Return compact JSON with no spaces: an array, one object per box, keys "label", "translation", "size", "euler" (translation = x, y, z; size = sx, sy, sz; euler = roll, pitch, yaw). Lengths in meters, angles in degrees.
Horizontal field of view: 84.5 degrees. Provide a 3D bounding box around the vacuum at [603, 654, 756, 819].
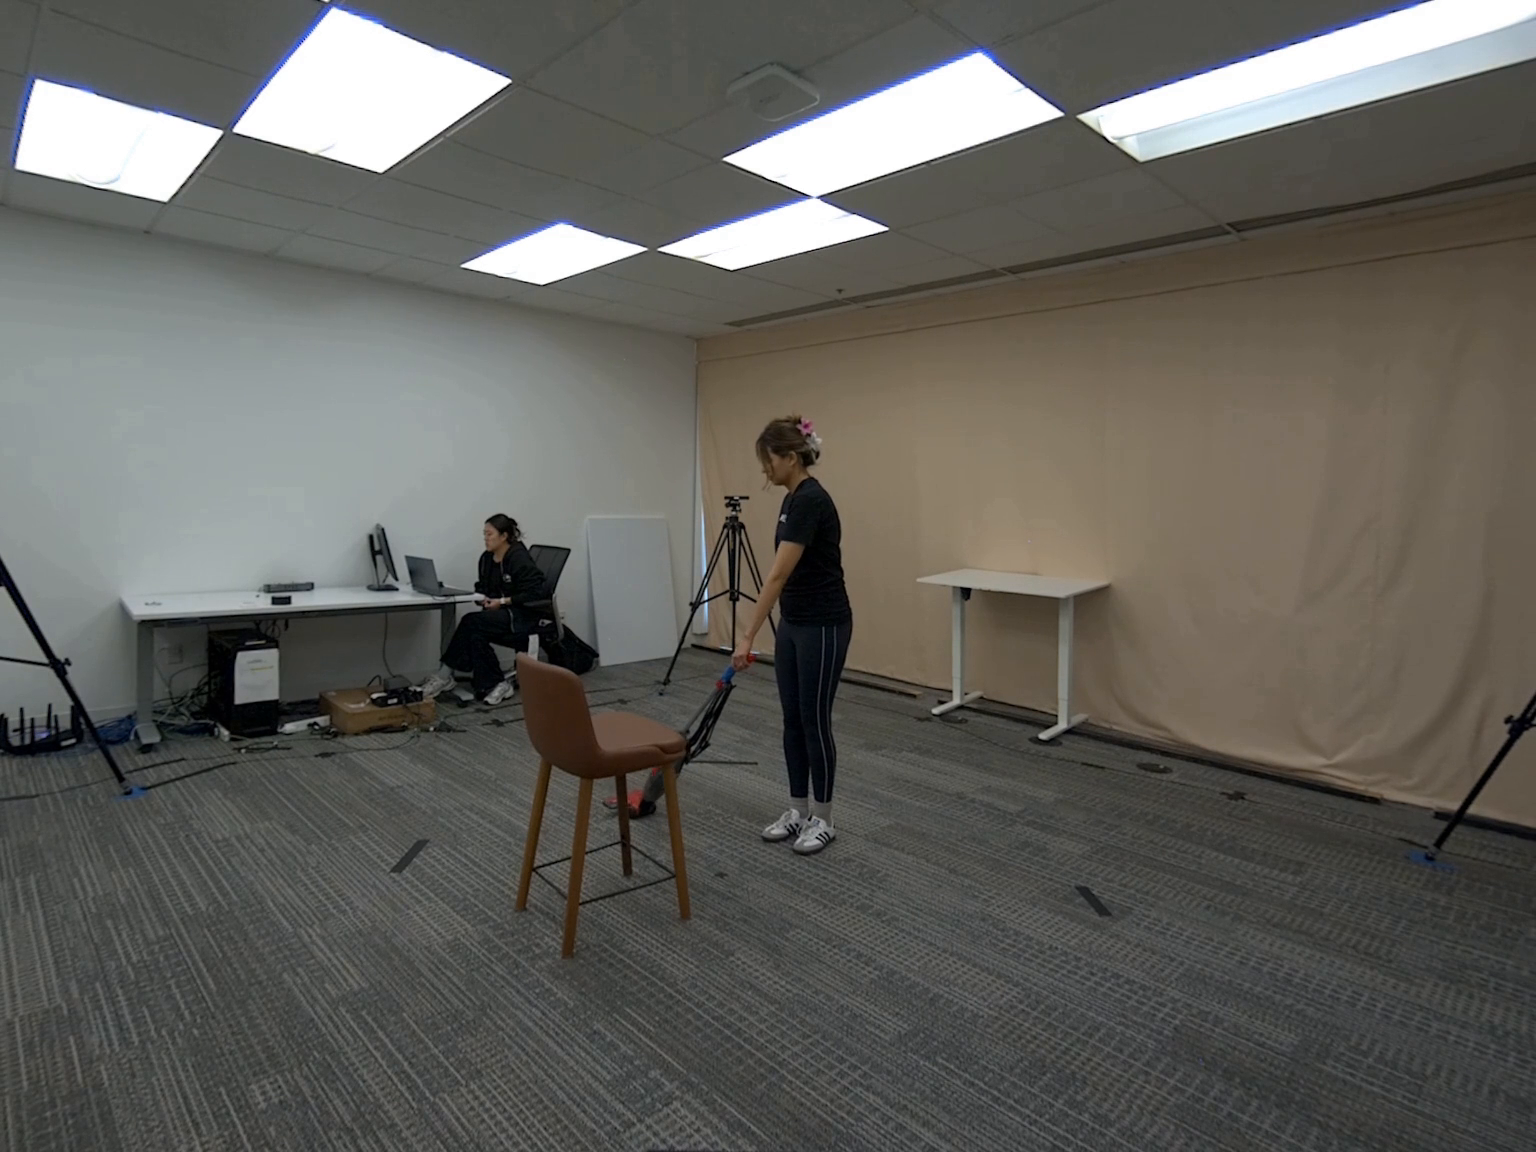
[{"label":"vacuum","translation":[-0.322,0.667,3.415],"size":[0.247,0.148,1.046],"euler":[-4,-39,-46]}]
